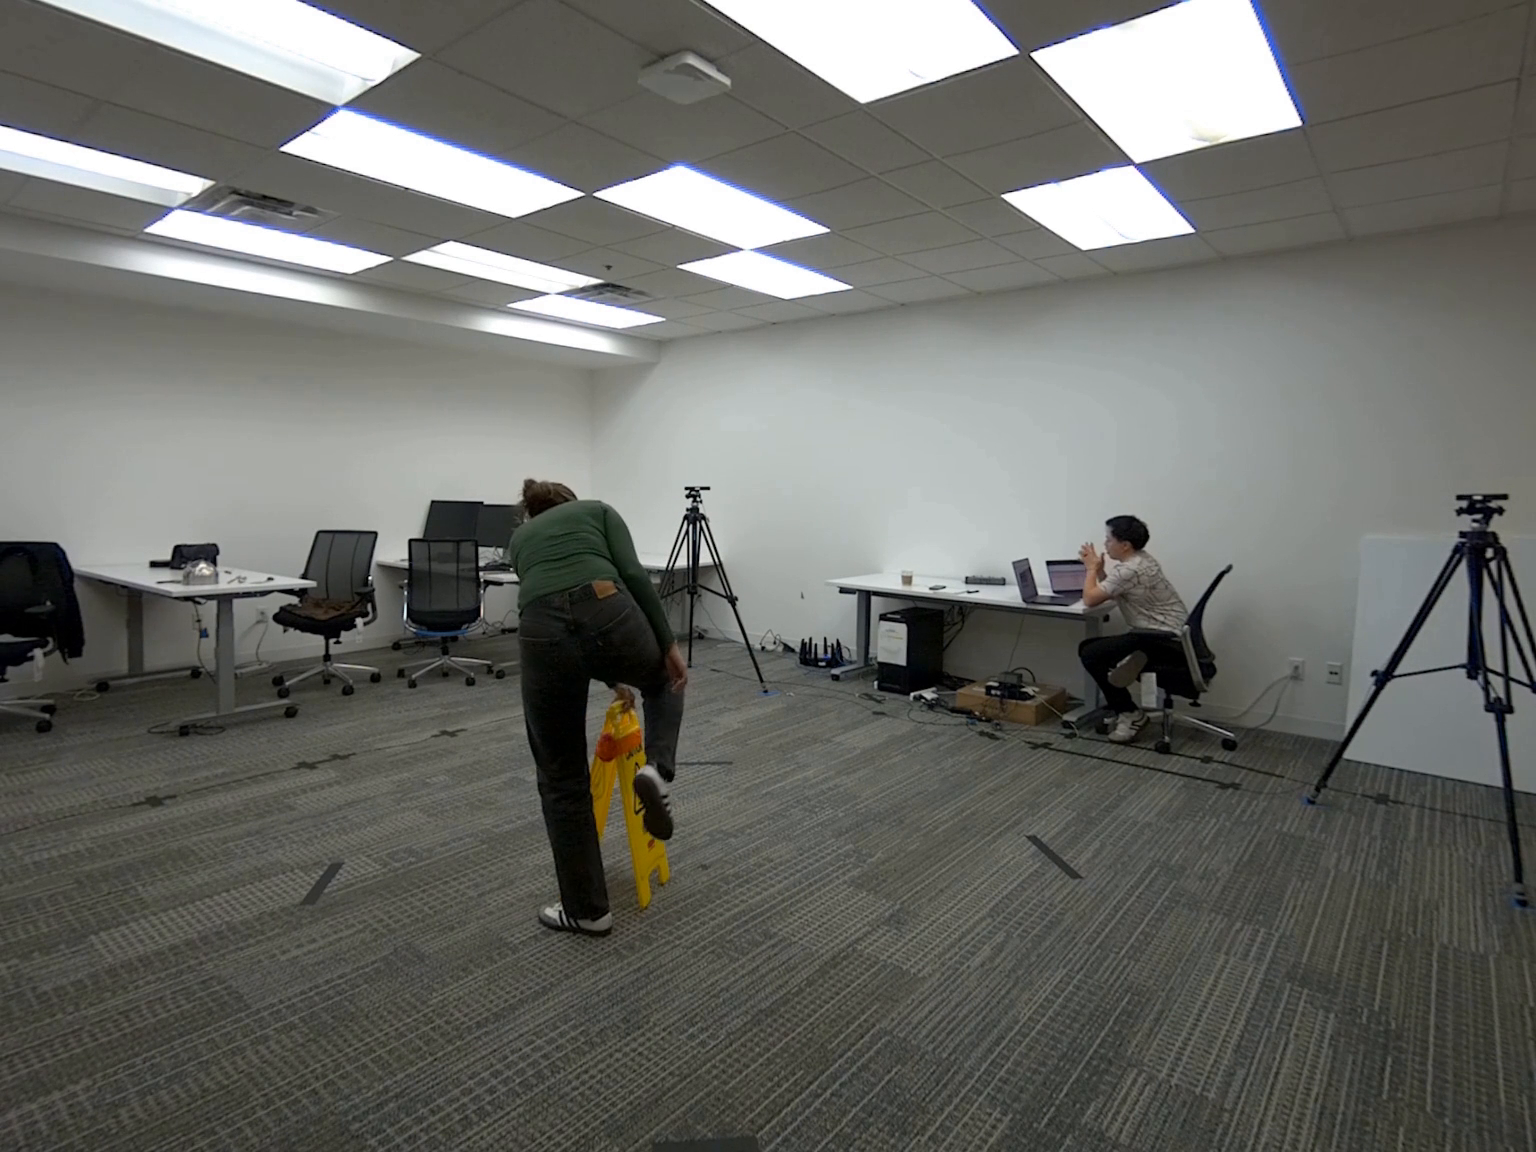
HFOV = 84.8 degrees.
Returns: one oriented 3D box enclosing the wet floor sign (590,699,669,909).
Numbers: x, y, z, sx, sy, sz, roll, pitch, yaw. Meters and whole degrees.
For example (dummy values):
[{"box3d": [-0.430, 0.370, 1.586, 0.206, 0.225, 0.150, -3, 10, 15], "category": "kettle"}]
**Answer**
[{"box3d": [-0.522, 0.746, 2.944, 0.294, 0.645, 0.278, 2, 1, 14], "category": "wet floor sign"}]
